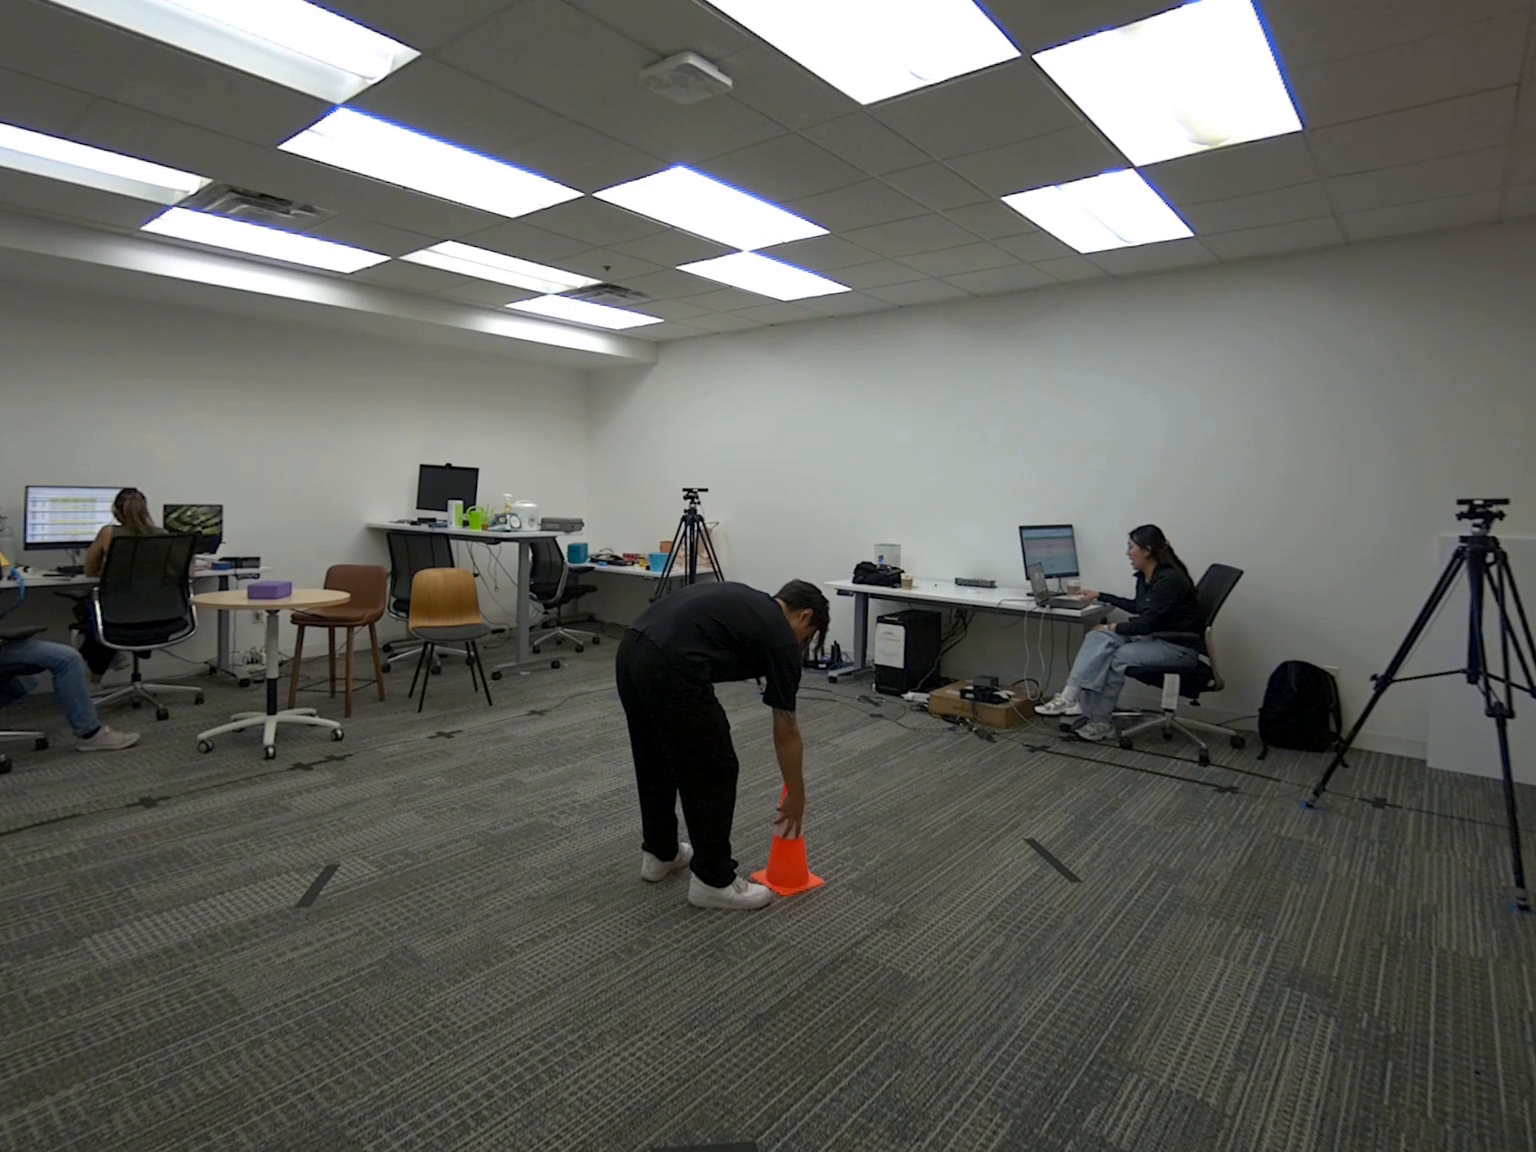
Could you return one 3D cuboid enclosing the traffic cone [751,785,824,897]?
[{"bbox_3d":[0.068,0.905,3.029,0.197,0.382,0.212,-2,5,-37],"label":"traffic cone"}]
